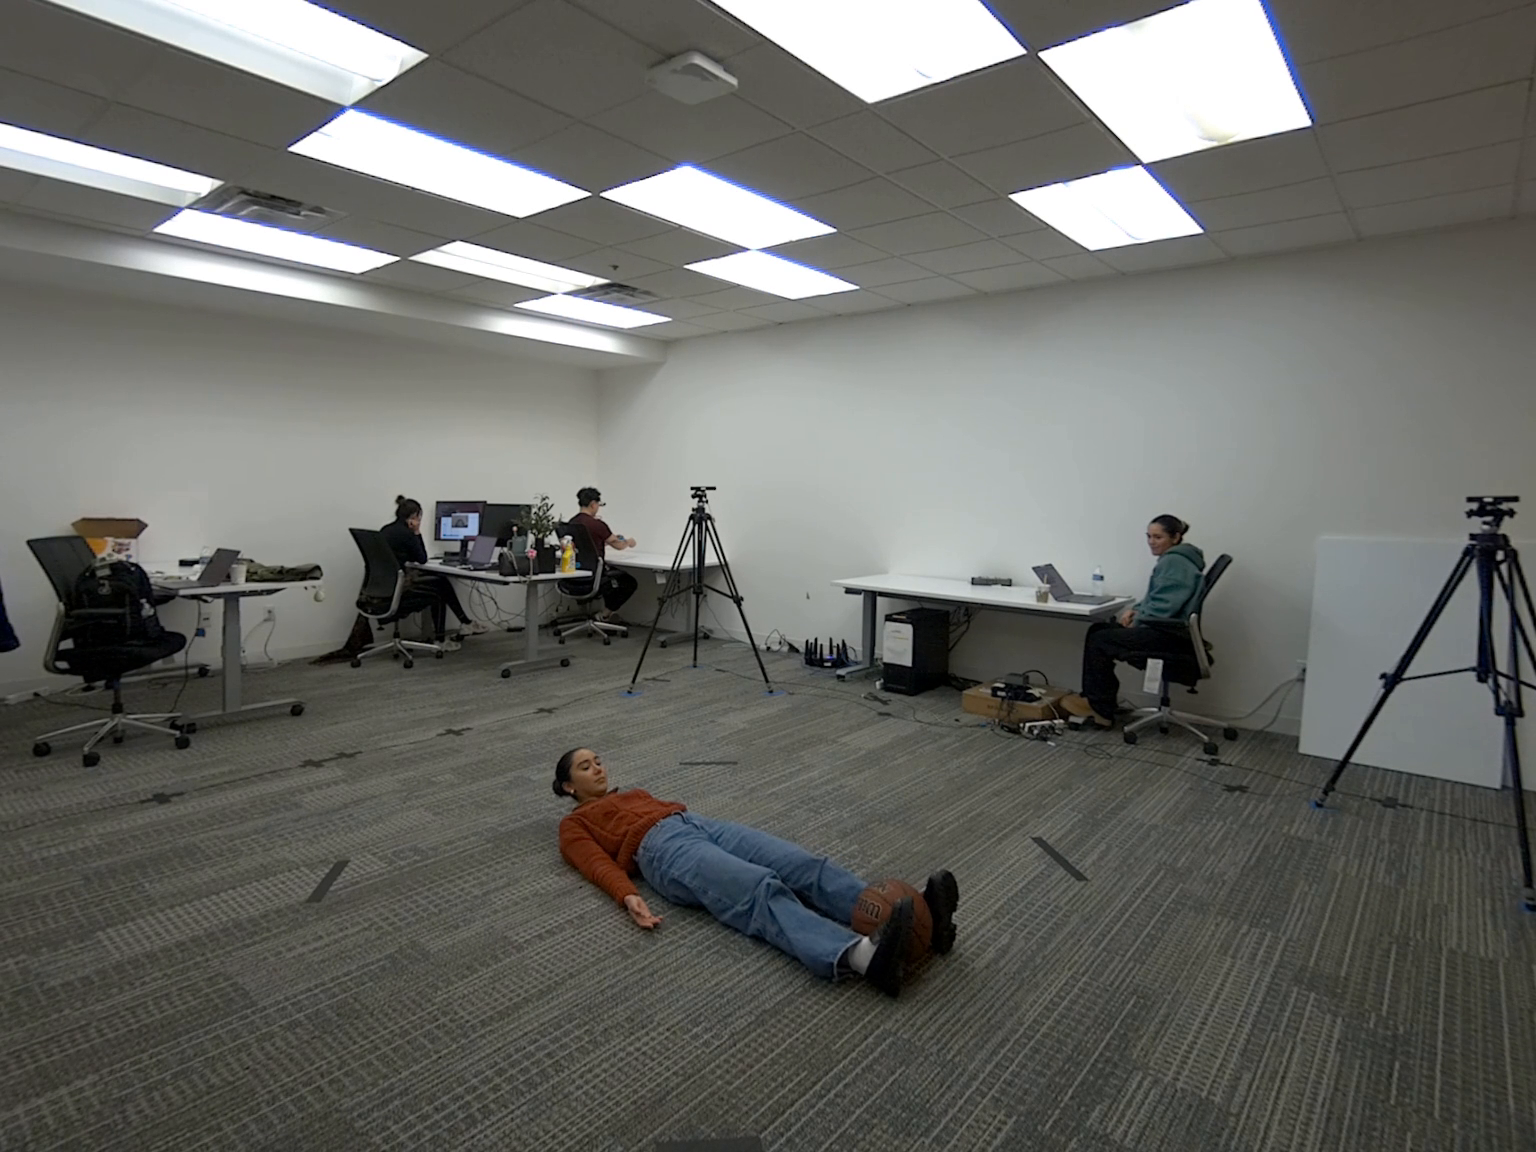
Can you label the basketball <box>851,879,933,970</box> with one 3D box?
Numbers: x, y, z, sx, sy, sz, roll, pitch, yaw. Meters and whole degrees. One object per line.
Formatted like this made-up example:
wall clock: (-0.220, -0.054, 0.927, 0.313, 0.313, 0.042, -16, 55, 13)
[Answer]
basketball: (0.354, 1.020, 2.516, 0.236, 0.235, 0.237, 1, 4, -2)
